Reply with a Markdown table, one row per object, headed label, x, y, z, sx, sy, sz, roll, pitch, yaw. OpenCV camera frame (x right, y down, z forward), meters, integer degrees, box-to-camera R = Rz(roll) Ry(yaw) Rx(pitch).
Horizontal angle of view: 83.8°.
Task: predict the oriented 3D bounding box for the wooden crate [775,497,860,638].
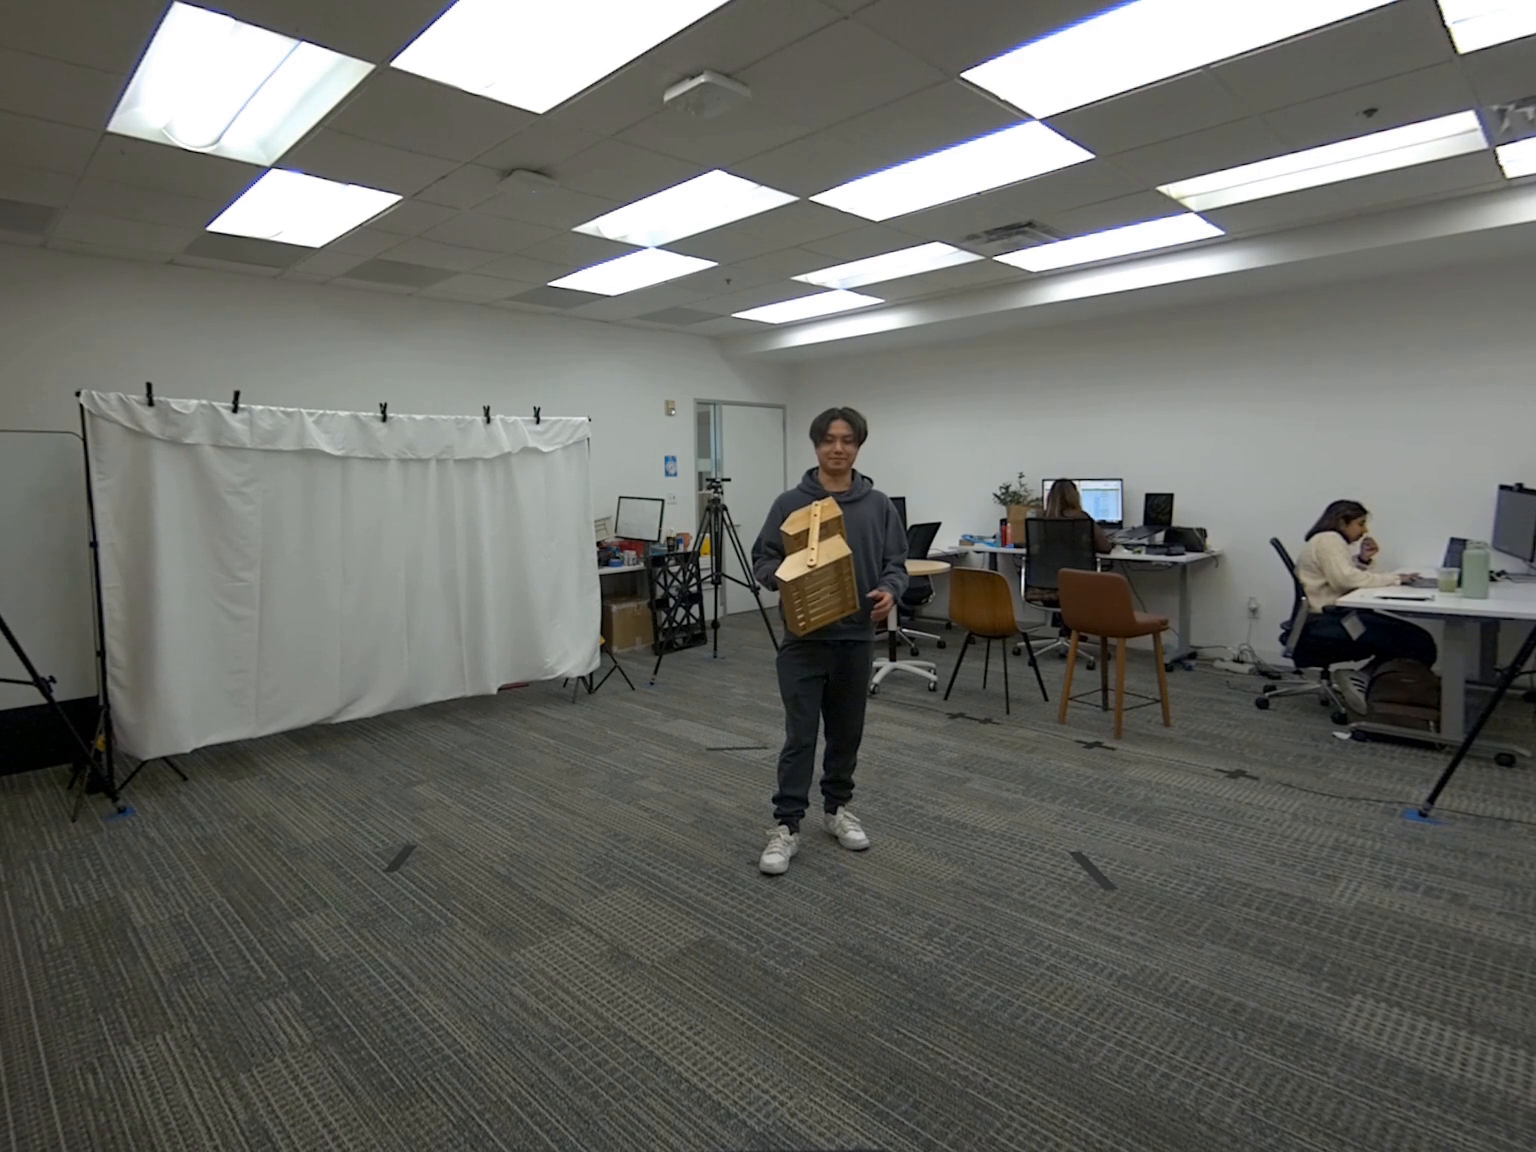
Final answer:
| label | x | y | z | sx | sy | sz | roll | pitch | yaw |
| --- | --- | --- | --- | --- | --- | --- | --- | --- | --- |
| wooden crate | 0.142 | -0.028 | 2.886 | 0.301 | 0.313 | 0.284 | -23 | 48 | -7 |
